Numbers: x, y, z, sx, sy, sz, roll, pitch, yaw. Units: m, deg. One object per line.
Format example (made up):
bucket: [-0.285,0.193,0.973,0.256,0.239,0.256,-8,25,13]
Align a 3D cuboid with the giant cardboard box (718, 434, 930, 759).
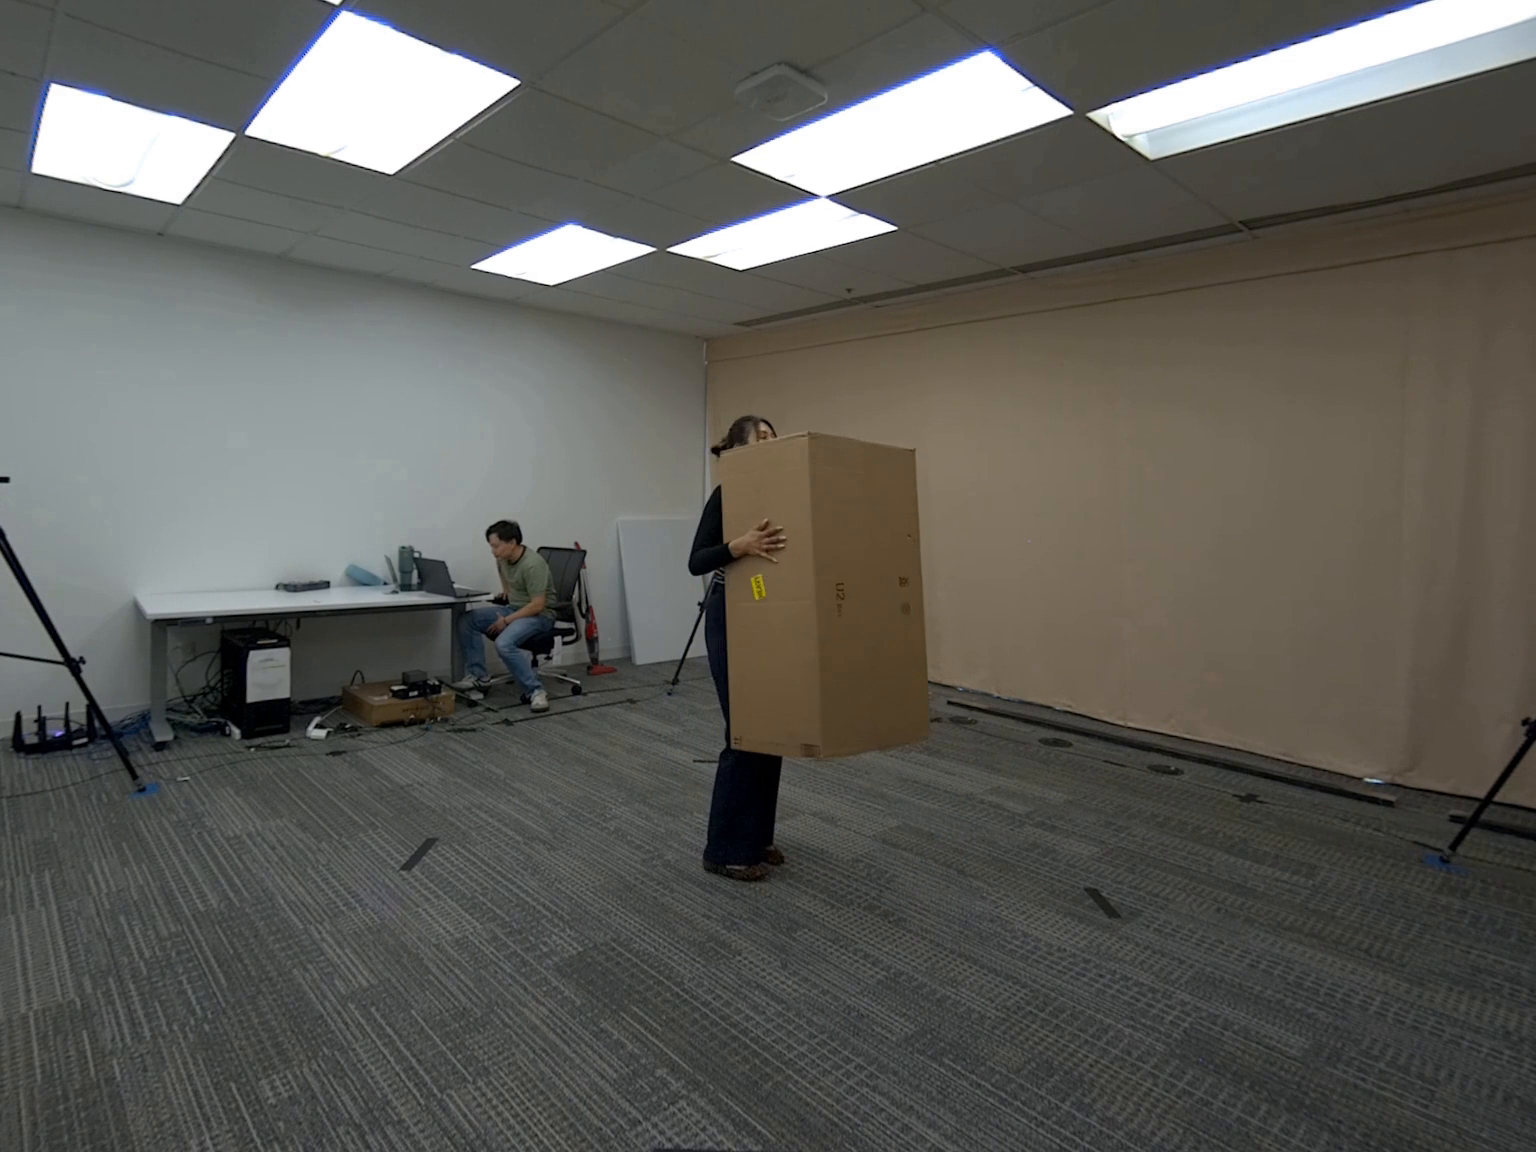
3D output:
giant cardboard box: [0.197,0.071,2.936,0.563,1.029,0.435,1,-5,-43]
